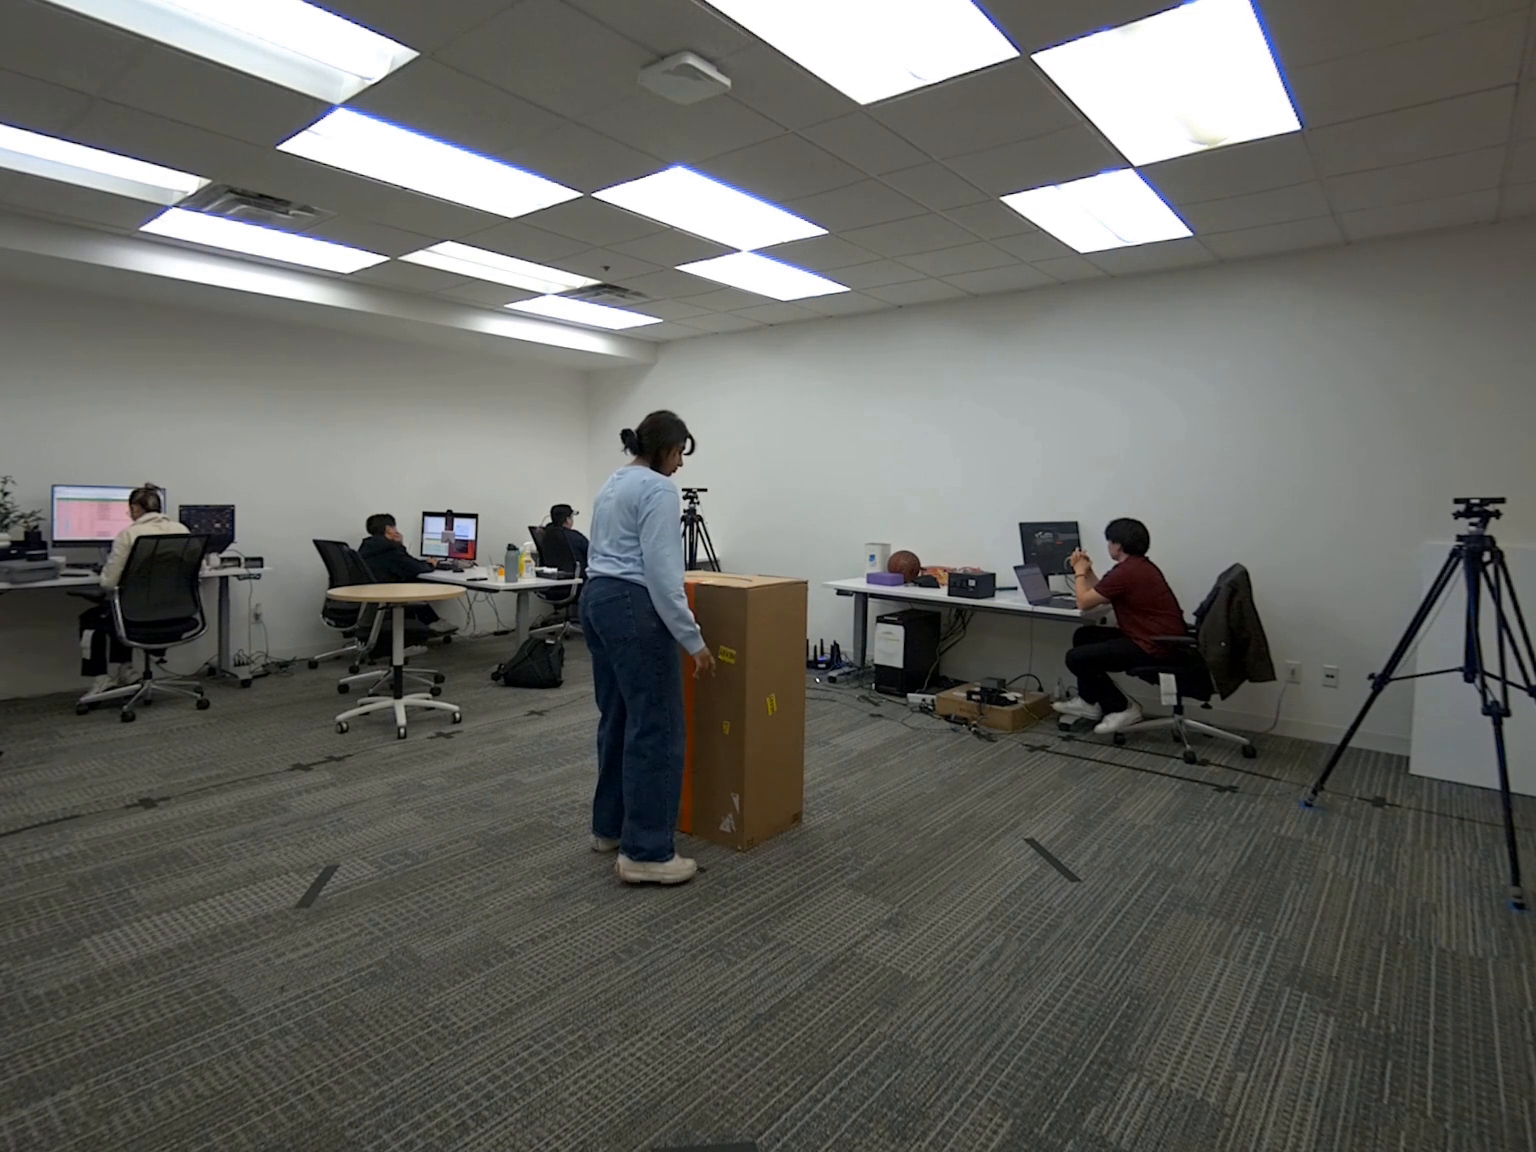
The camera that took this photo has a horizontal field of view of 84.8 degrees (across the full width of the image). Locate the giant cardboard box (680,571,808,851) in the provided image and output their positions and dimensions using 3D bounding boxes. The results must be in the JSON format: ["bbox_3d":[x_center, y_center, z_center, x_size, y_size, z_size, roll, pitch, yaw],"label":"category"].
[{"bbox_3d":[-0.202,0.514,3.577,0.603,1.024,0.434,4,5,38],"label":"giant cardboard box"}]
